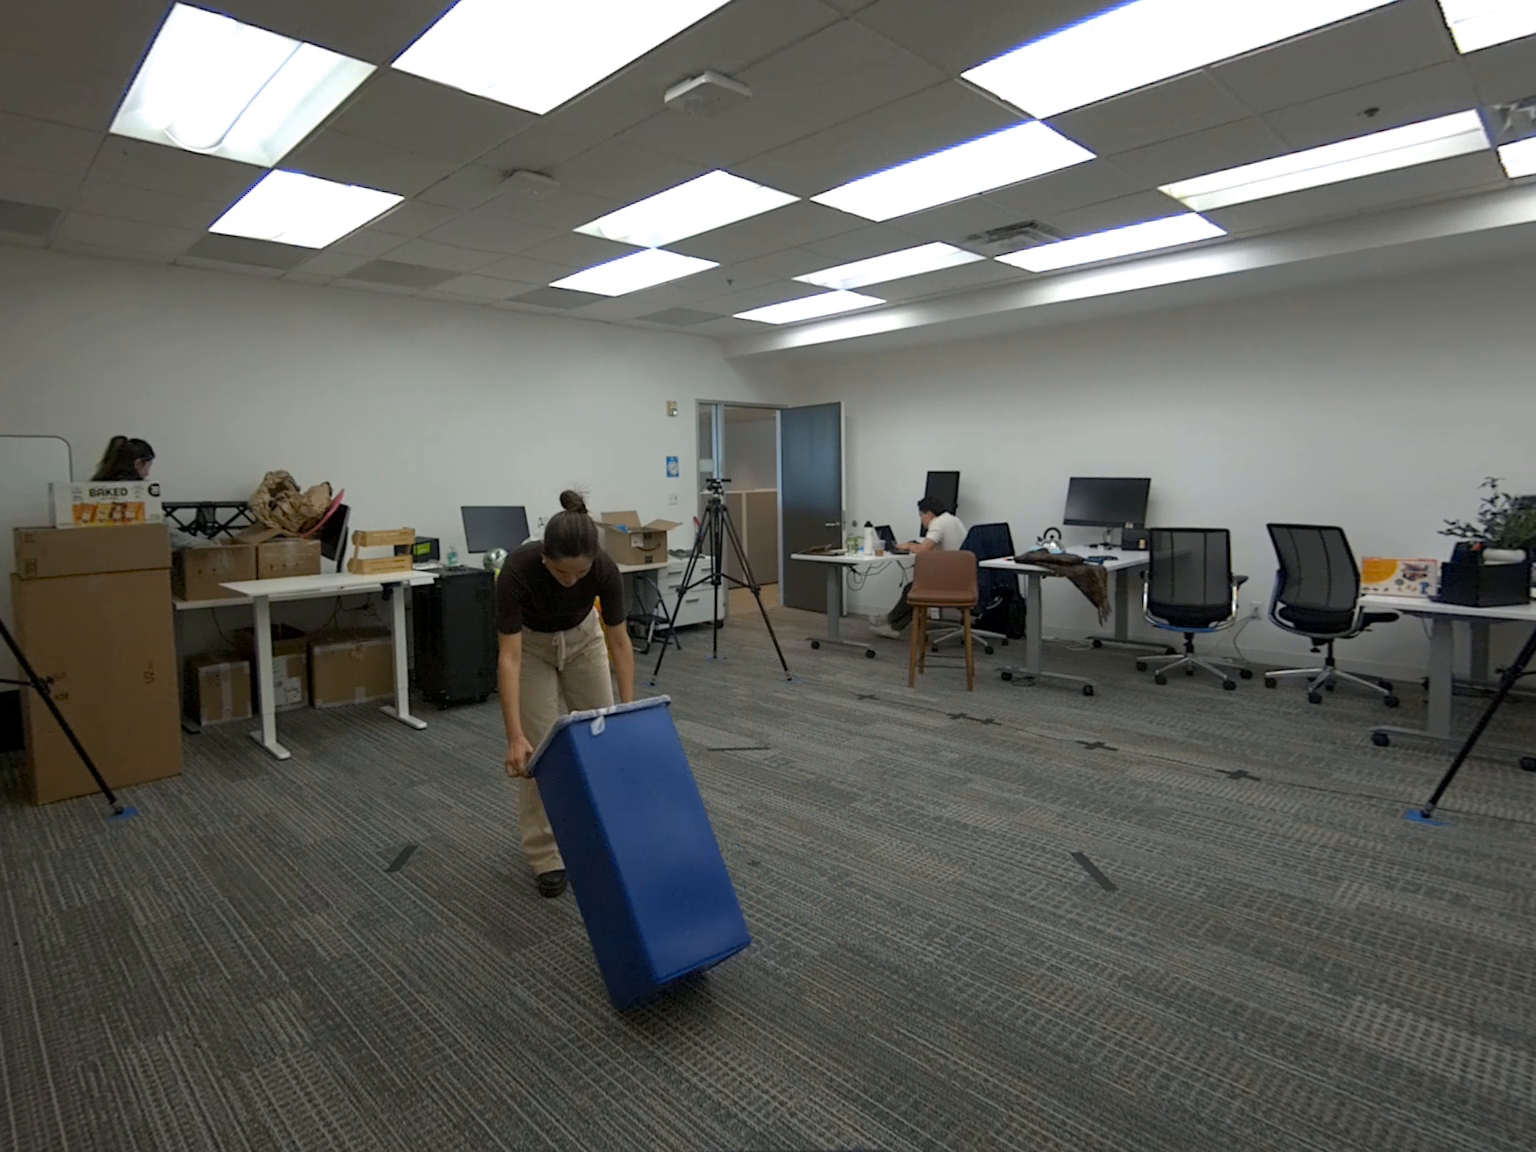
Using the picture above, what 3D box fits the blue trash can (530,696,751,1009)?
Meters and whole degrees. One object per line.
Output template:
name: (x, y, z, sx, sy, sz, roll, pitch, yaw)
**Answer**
blue trash can: (-0.371, 0.763, 2.425, 0.368, 0.735, 0.373, -3, -34, -36)
